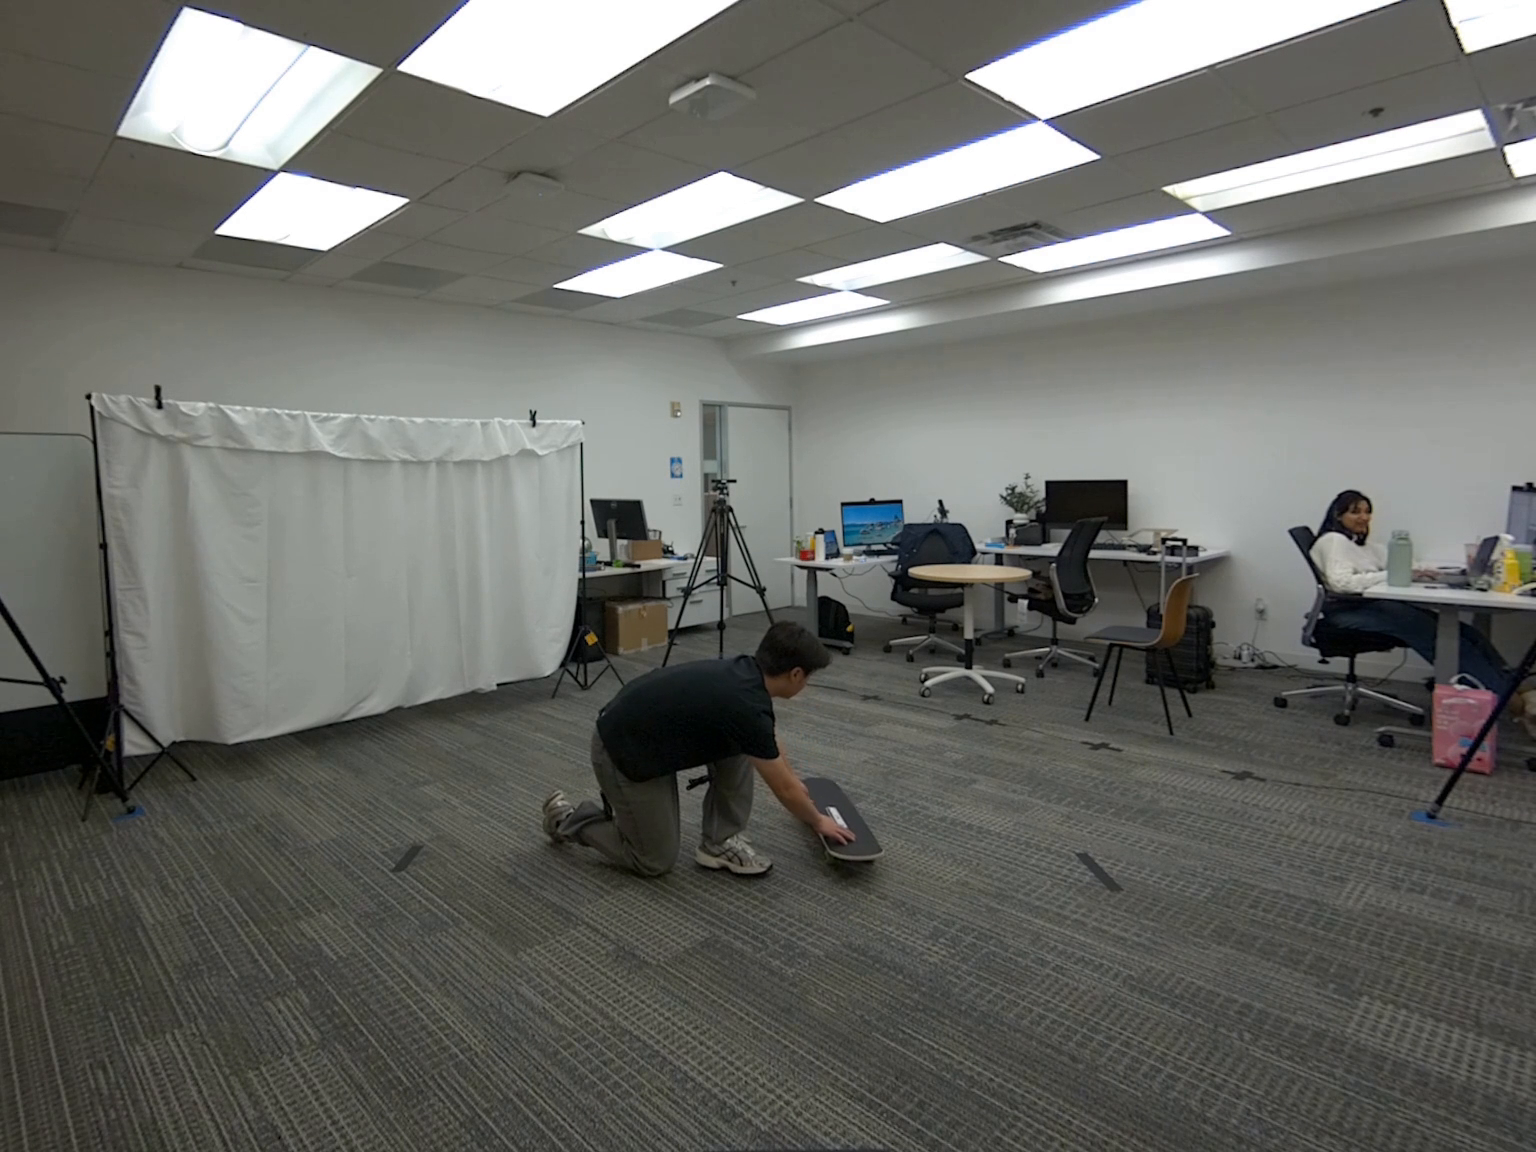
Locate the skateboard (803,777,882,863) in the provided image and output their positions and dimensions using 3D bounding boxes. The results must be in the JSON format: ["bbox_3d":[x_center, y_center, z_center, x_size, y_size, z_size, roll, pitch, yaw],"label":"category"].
[{"bbox_3d":[0.262,0.958,3.296,0.192,0.110,0.795,-3,7,-8],"label":"skateboard"}]
